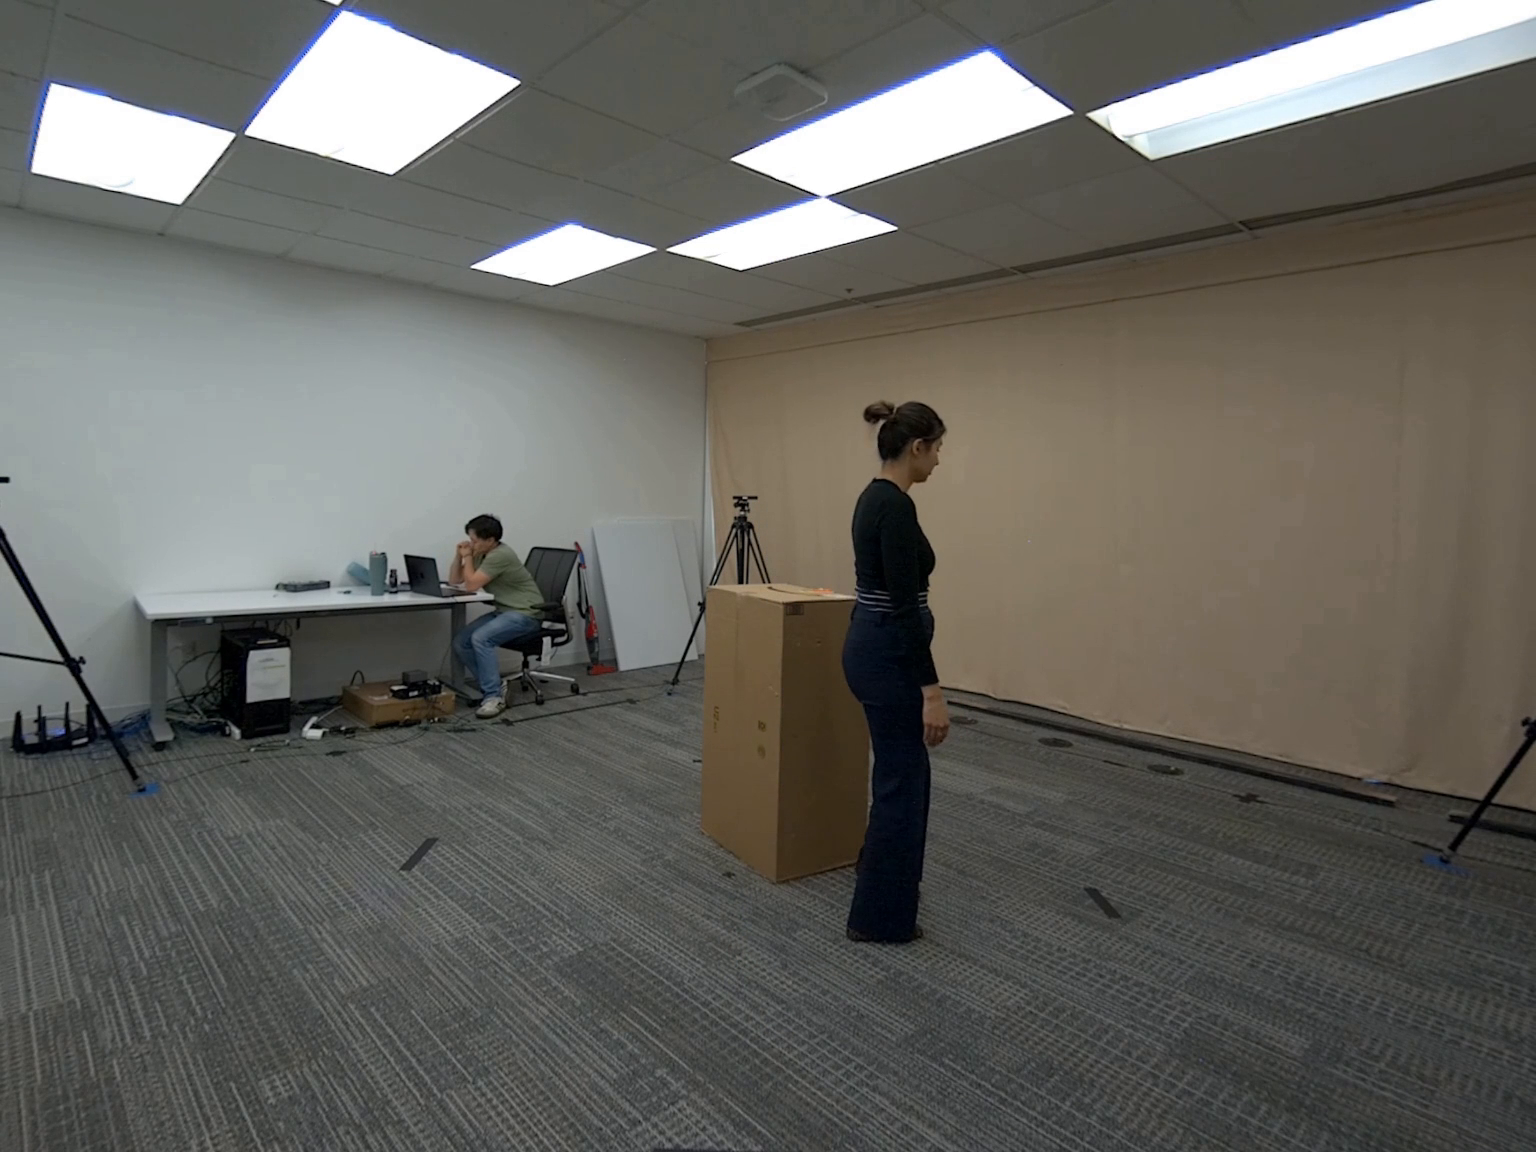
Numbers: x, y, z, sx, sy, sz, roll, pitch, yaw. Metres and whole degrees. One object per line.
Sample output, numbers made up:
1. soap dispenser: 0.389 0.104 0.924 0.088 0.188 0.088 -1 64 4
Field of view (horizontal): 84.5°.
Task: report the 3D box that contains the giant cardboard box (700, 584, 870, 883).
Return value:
1. giant cardboard box: 0.052 0.575 3.363 0.417 1.024 0.591 0 3 -32
